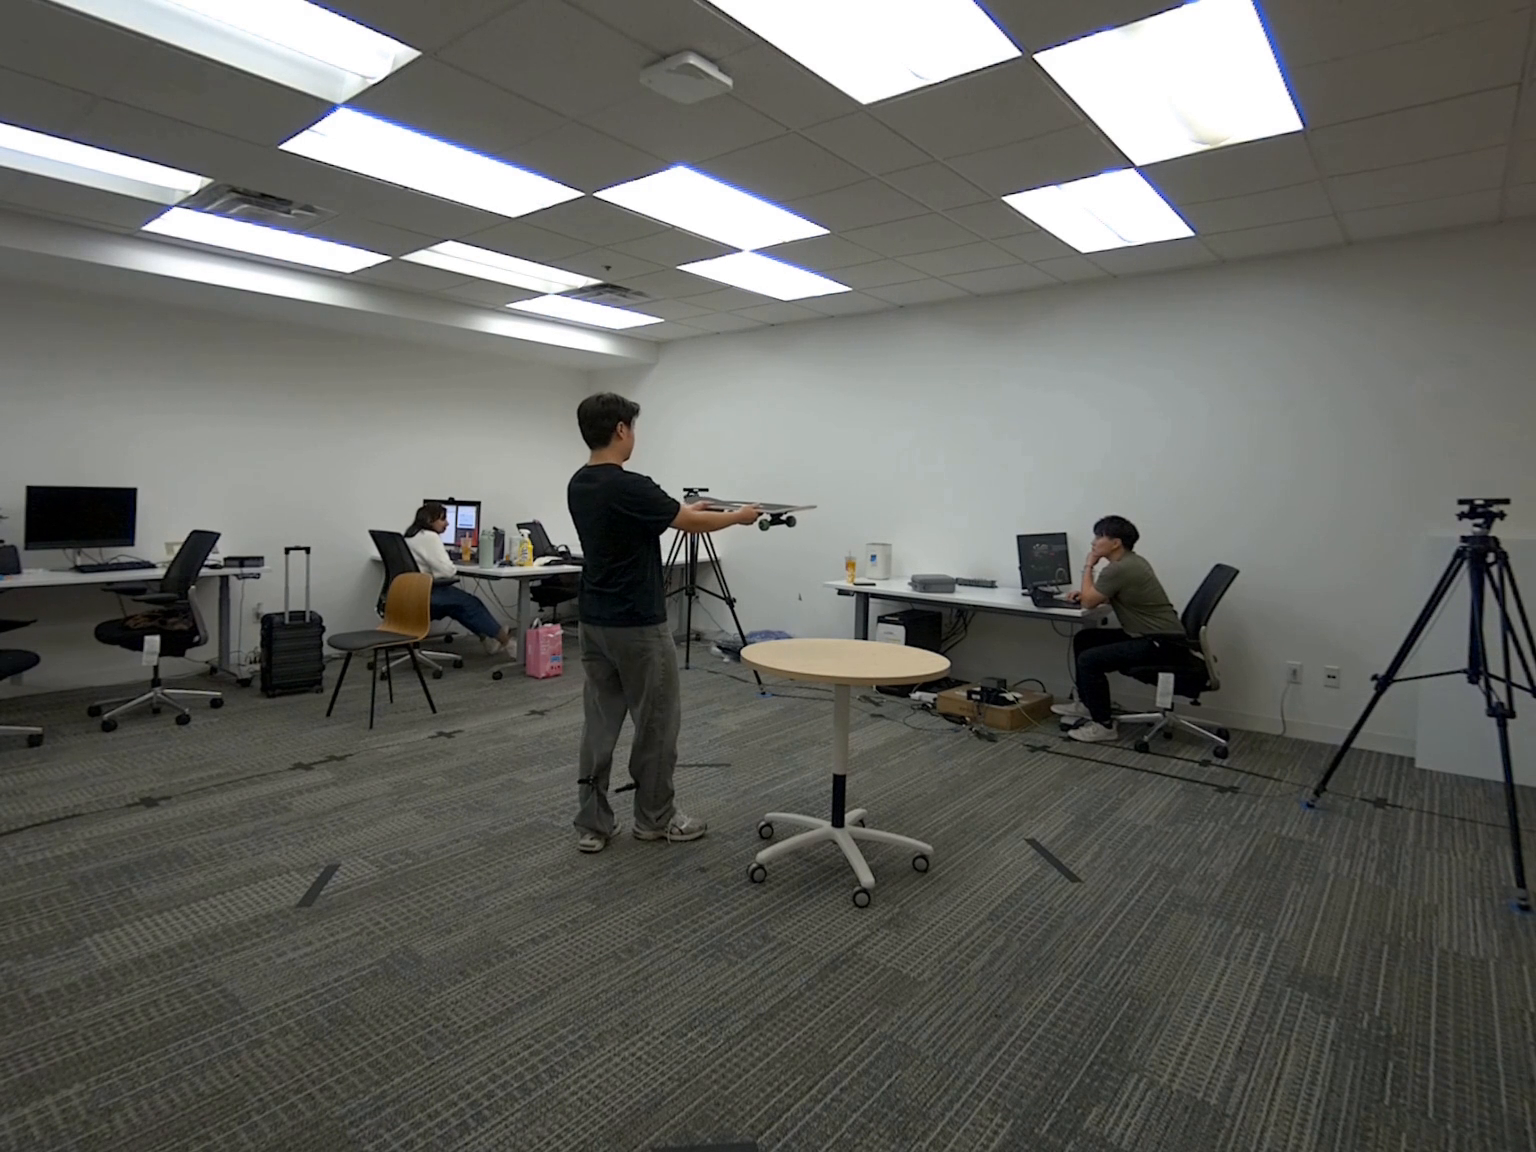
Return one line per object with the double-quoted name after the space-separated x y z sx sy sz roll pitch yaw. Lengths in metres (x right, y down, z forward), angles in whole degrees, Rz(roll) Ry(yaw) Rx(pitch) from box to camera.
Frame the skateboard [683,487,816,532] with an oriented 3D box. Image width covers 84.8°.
-0.106 -0.285 3.708 0.188 0.109 0.814 -7 11 -42 "skateboard"
